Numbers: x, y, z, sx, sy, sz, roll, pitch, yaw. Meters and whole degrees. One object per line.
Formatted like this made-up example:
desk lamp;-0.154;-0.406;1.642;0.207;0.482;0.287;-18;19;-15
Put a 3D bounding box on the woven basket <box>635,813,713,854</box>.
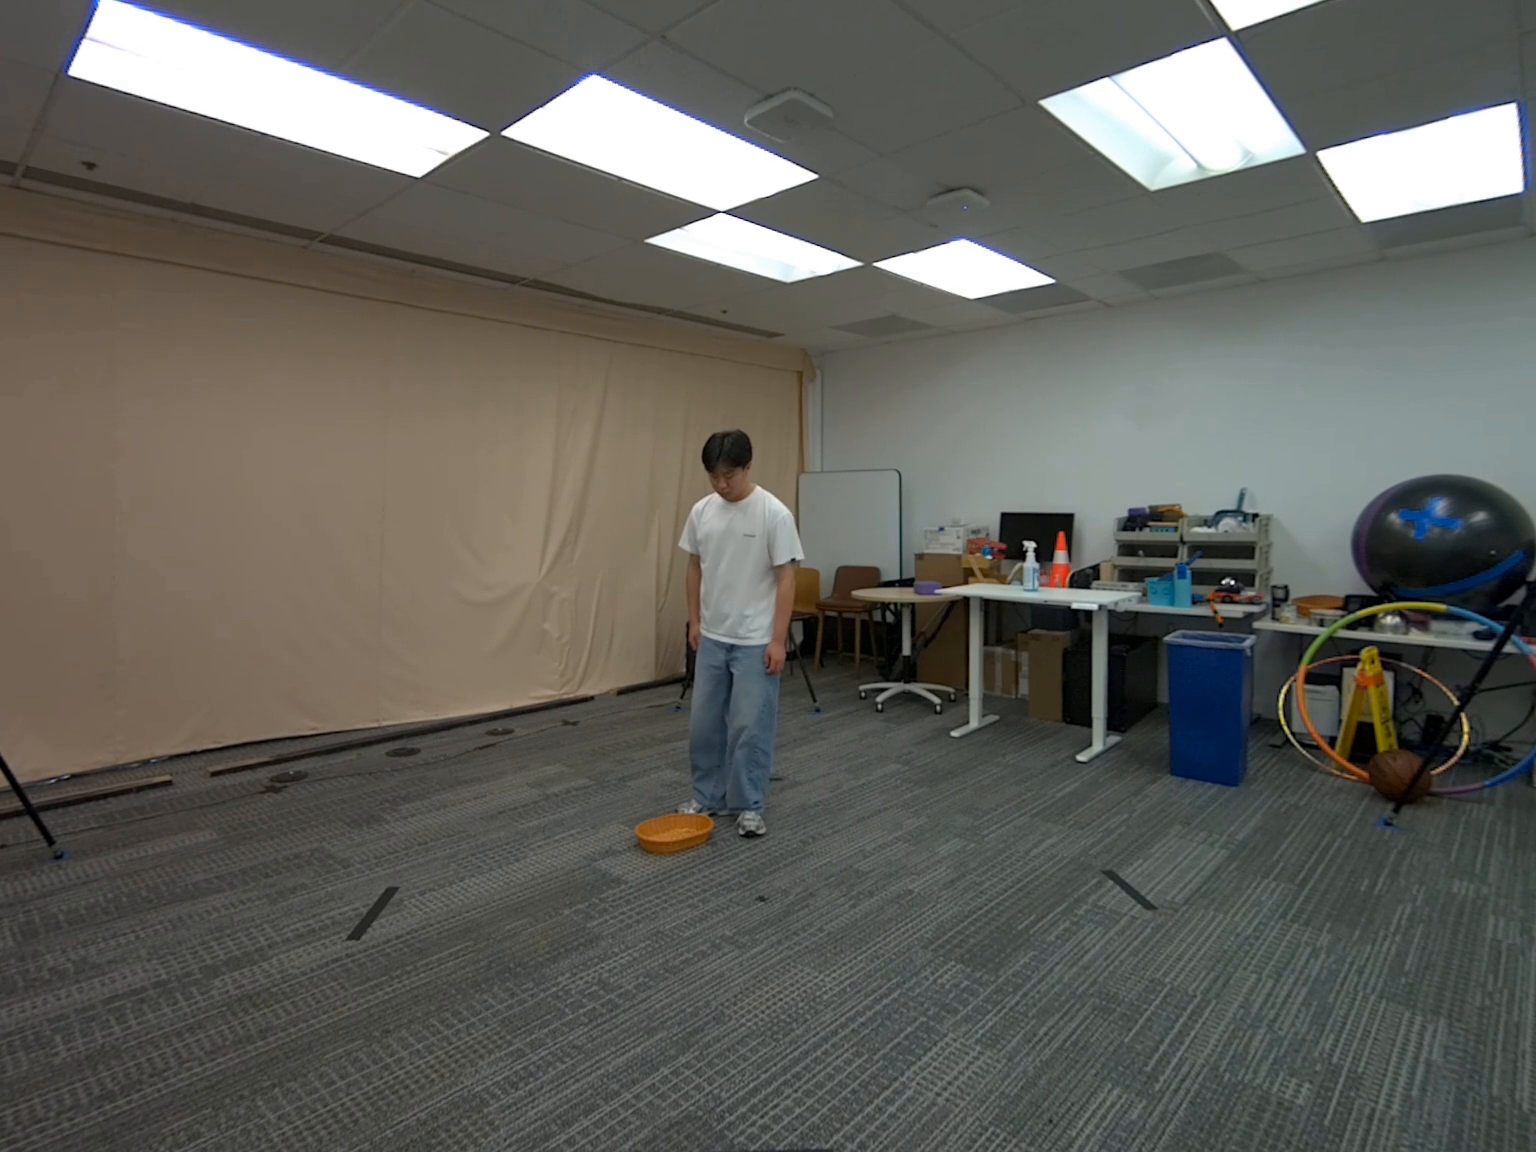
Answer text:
woven basket;-0.378;1.063;3.487;0.340;0.073;0.260;-4;6;-34
